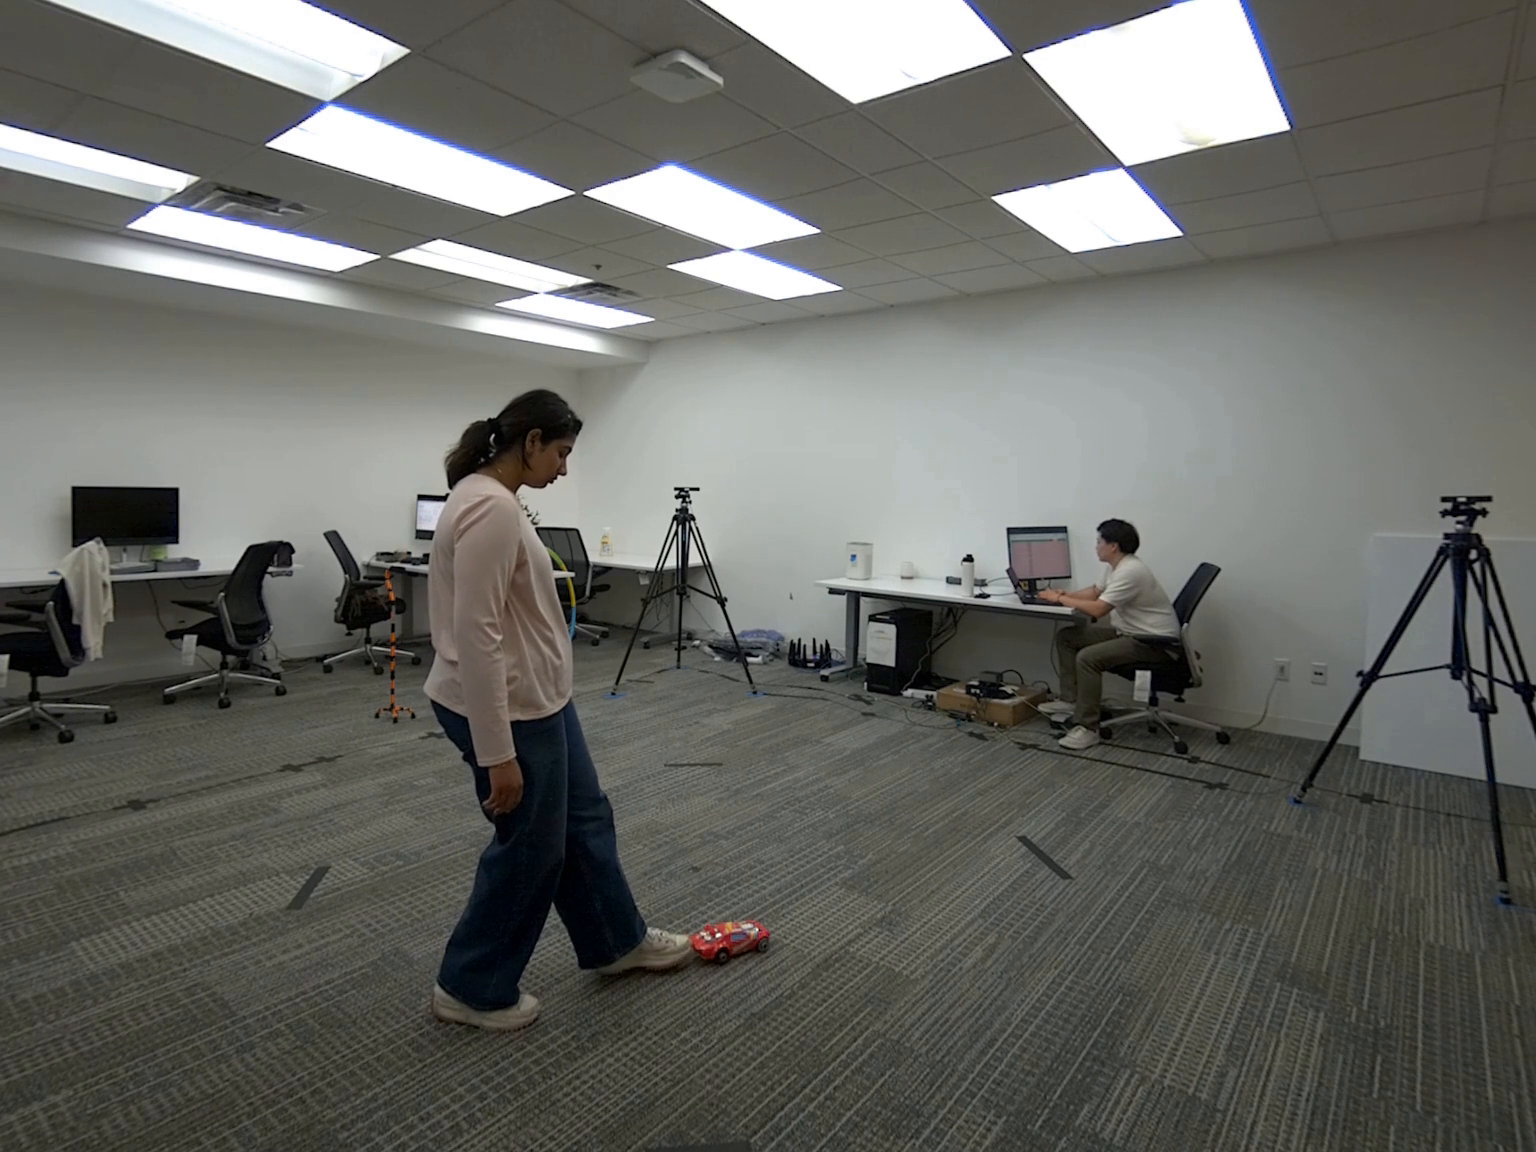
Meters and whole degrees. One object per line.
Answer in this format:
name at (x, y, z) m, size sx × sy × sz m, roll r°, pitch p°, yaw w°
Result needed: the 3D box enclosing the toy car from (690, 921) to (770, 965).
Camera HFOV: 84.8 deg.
toy car at (-0.134, 1.089, 2.547) m, size 0.246 × 0.083 × 0.134 m, roll 11°, pitch -1°, yaw -32°
